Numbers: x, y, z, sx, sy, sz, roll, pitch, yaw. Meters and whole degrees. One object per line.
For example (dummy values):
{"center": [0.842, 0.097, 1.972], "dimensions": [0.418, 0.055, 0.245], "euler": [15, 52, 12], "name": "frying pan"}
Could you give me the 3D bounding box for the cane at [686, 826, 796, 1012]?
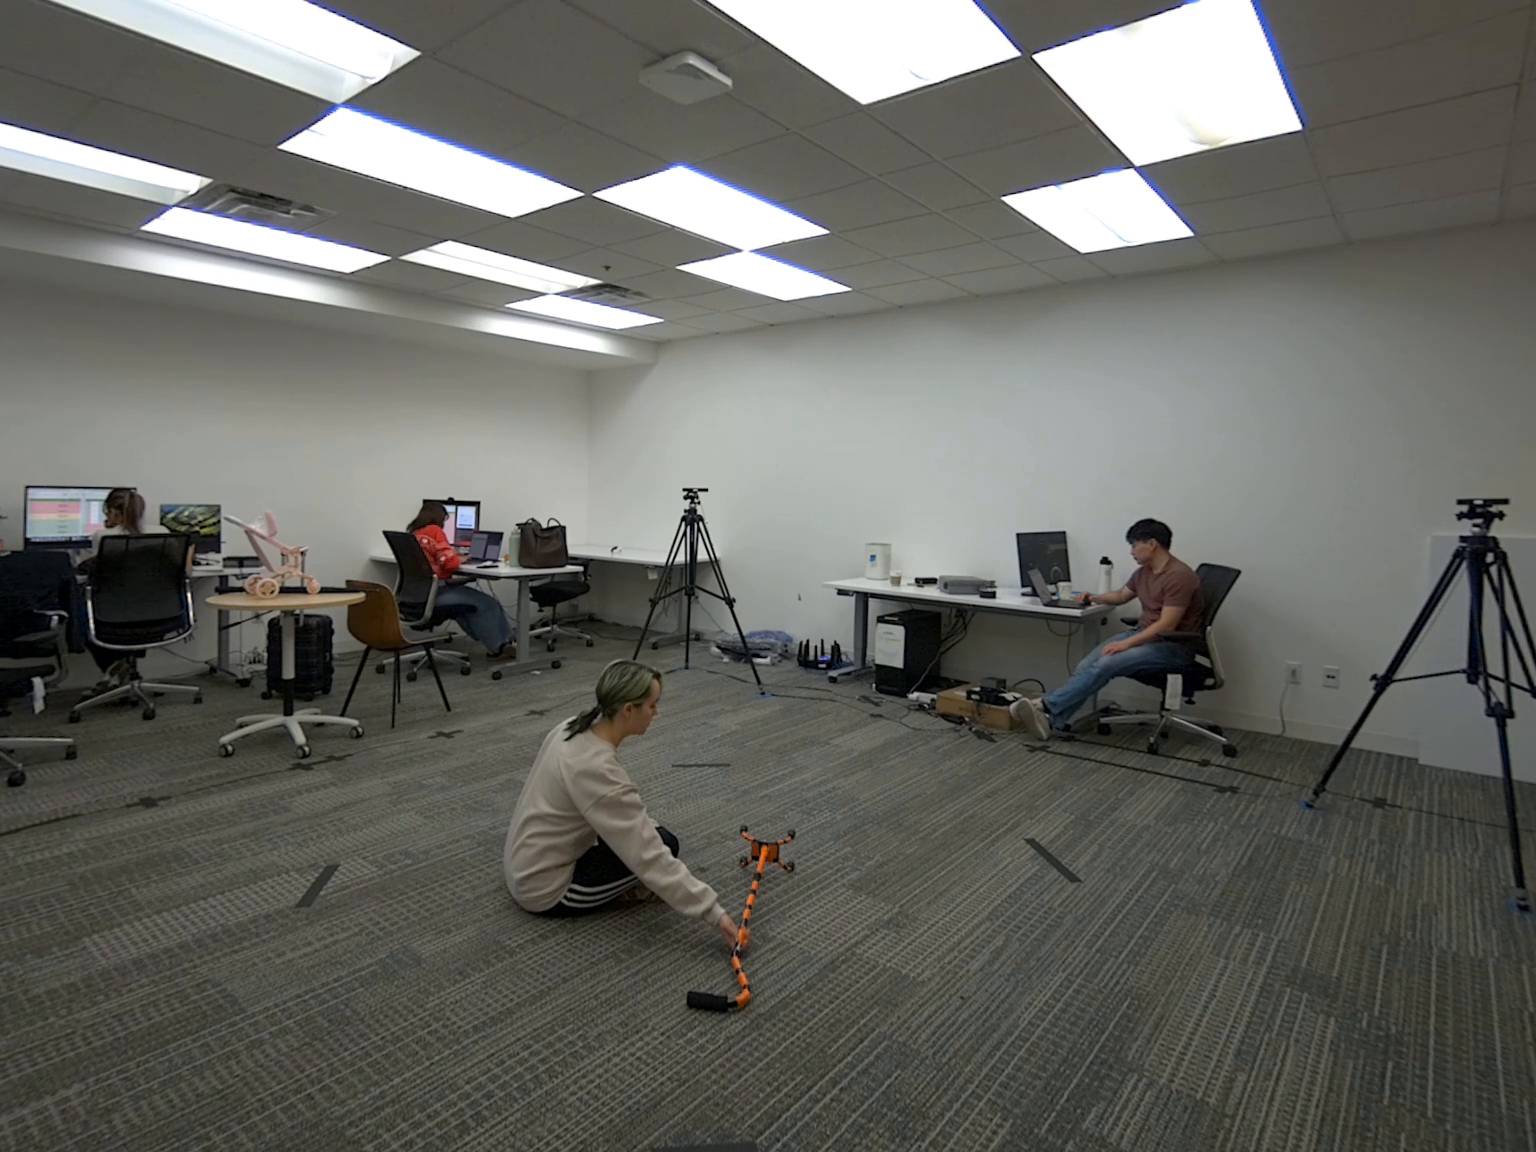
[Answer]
{"center": [-0.063, 1.058, 2.696], "dimensions": [0.209, 0.150, 0.905], "euler": [3, 10, 8], "name": "cane"}
